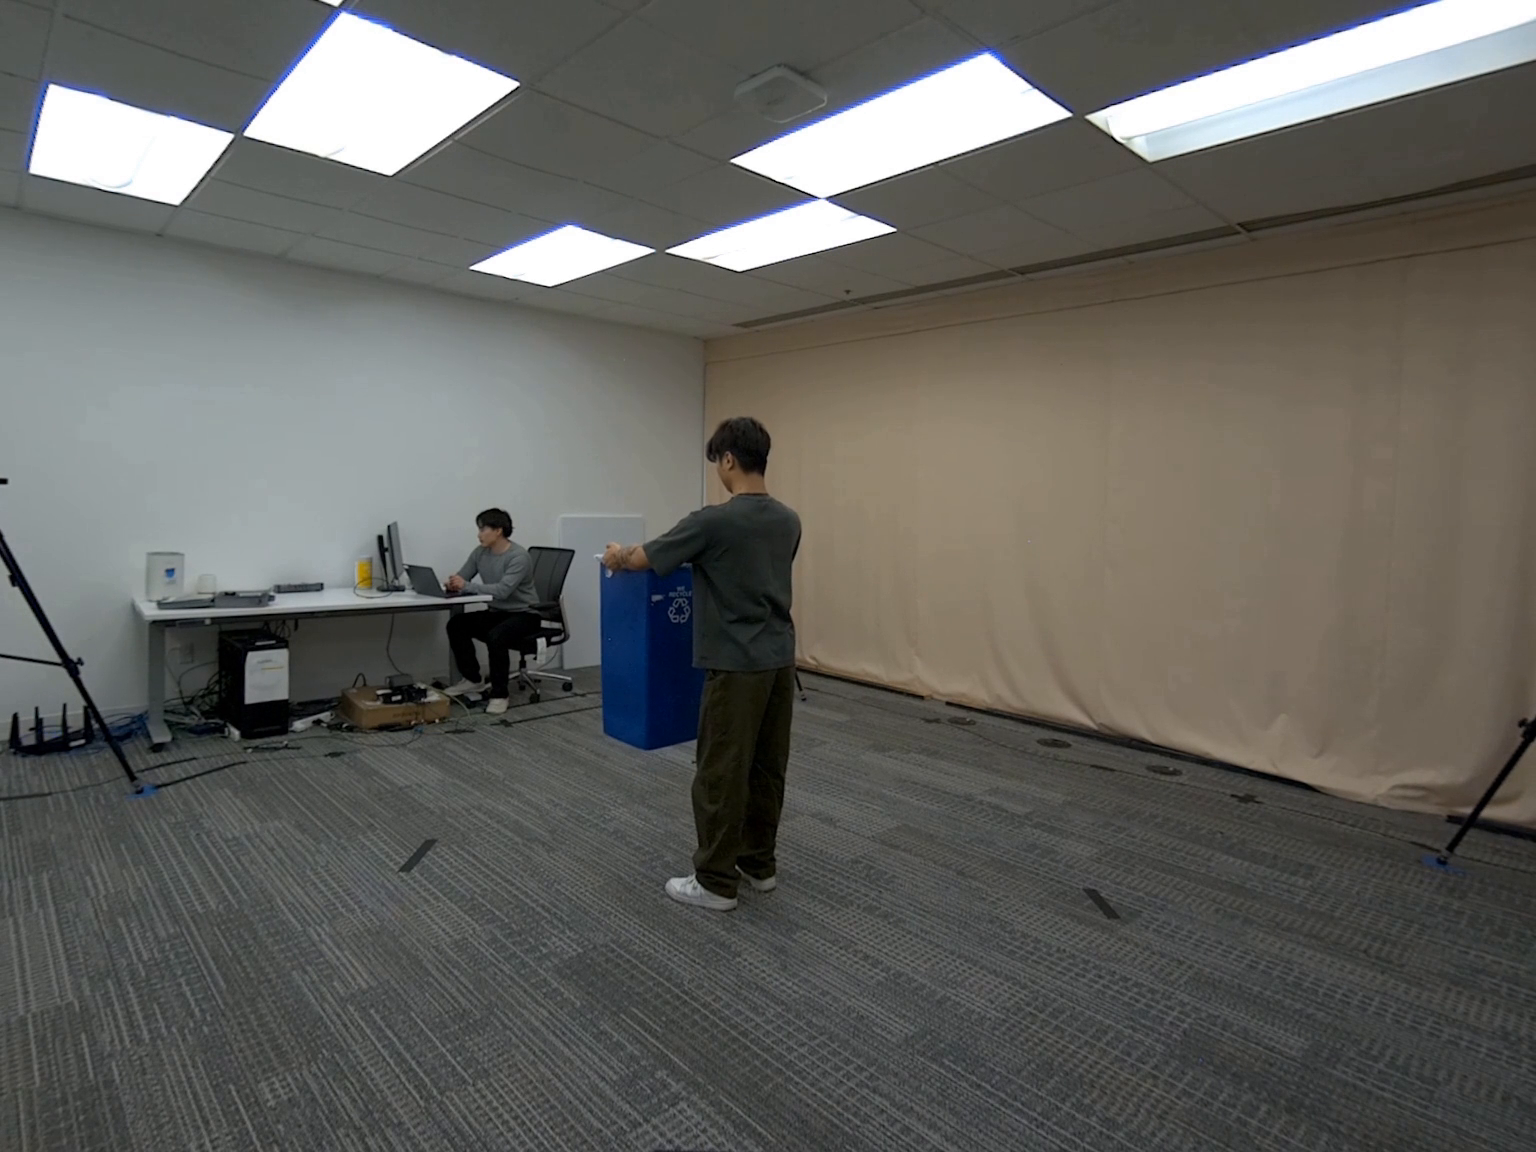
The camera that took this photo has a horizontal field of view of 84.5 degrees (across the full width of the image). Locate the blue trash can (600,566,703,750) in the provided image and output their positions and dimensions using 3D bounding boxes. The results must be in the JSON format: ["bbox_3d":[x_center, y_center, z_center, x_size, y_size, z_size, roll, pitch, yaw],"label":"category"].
[{"bbox_3d":[-0.459,0.282,3.321,0.369,0.711,0.384,-3,7,-44],"label":"blue trash can"}]
